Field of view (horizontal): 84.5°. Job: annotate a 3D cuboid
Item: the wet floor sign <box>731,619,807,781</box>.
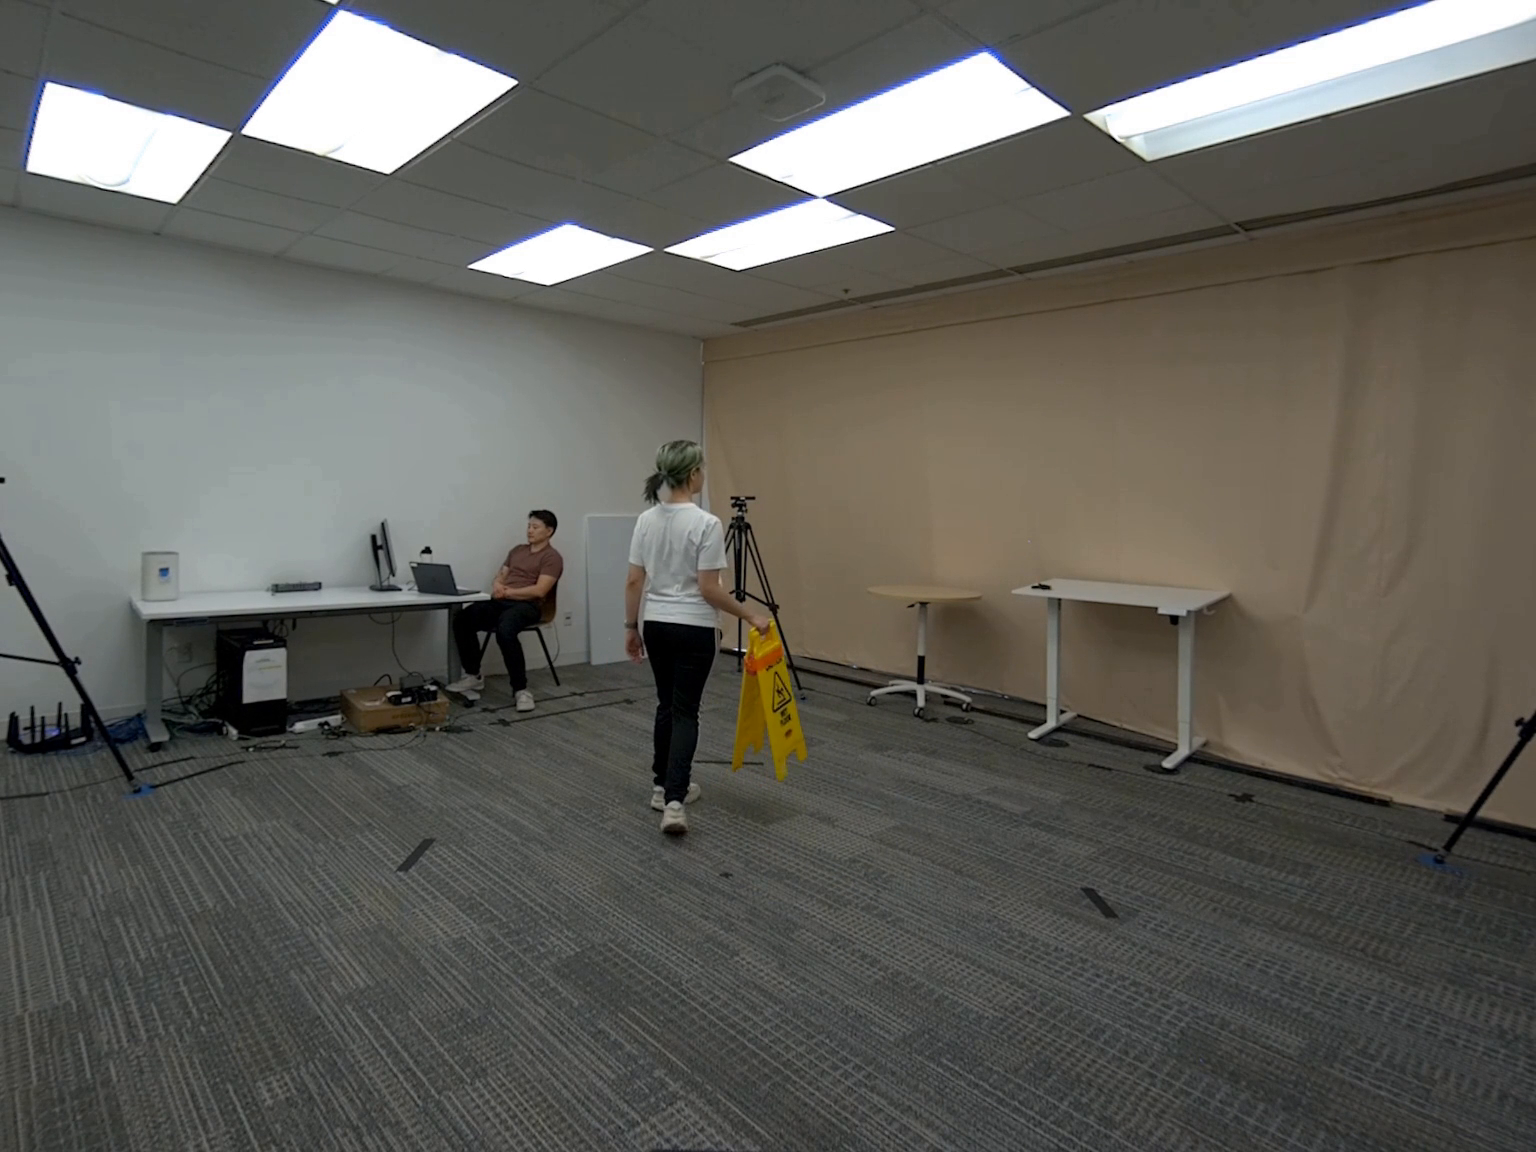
[{"bbox_3d":[-0.019,0.523,3.707,0.296,0.640,0.279,3,13,28],"label":"wet floor sign"}]
